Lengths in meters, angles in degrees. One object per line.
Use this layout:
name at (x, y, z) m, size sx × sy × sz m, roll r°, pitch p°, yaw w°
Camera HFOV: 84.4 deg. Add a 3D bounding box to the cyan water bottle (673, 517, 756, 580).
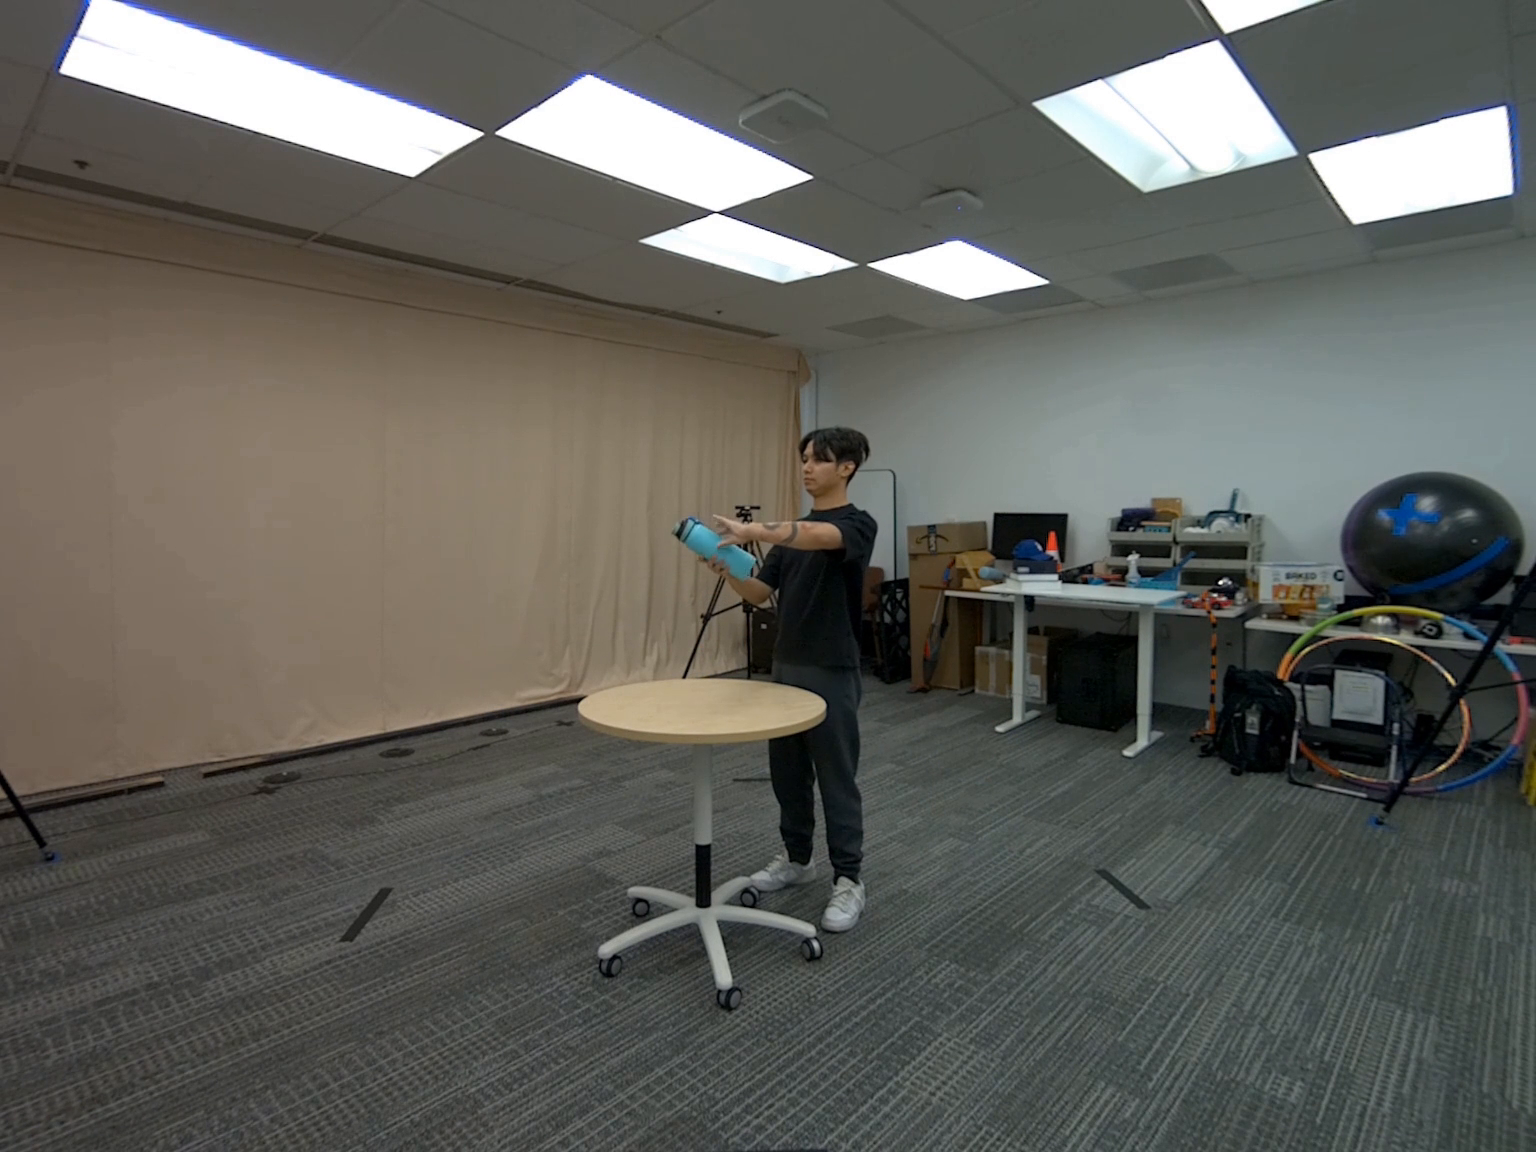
cyan water bottle at (-0.181, -0.096, 2.762) m, size 0.283 × 0.092 × 0.092 m, roll 33°, pitch 3°, yaw -1°
